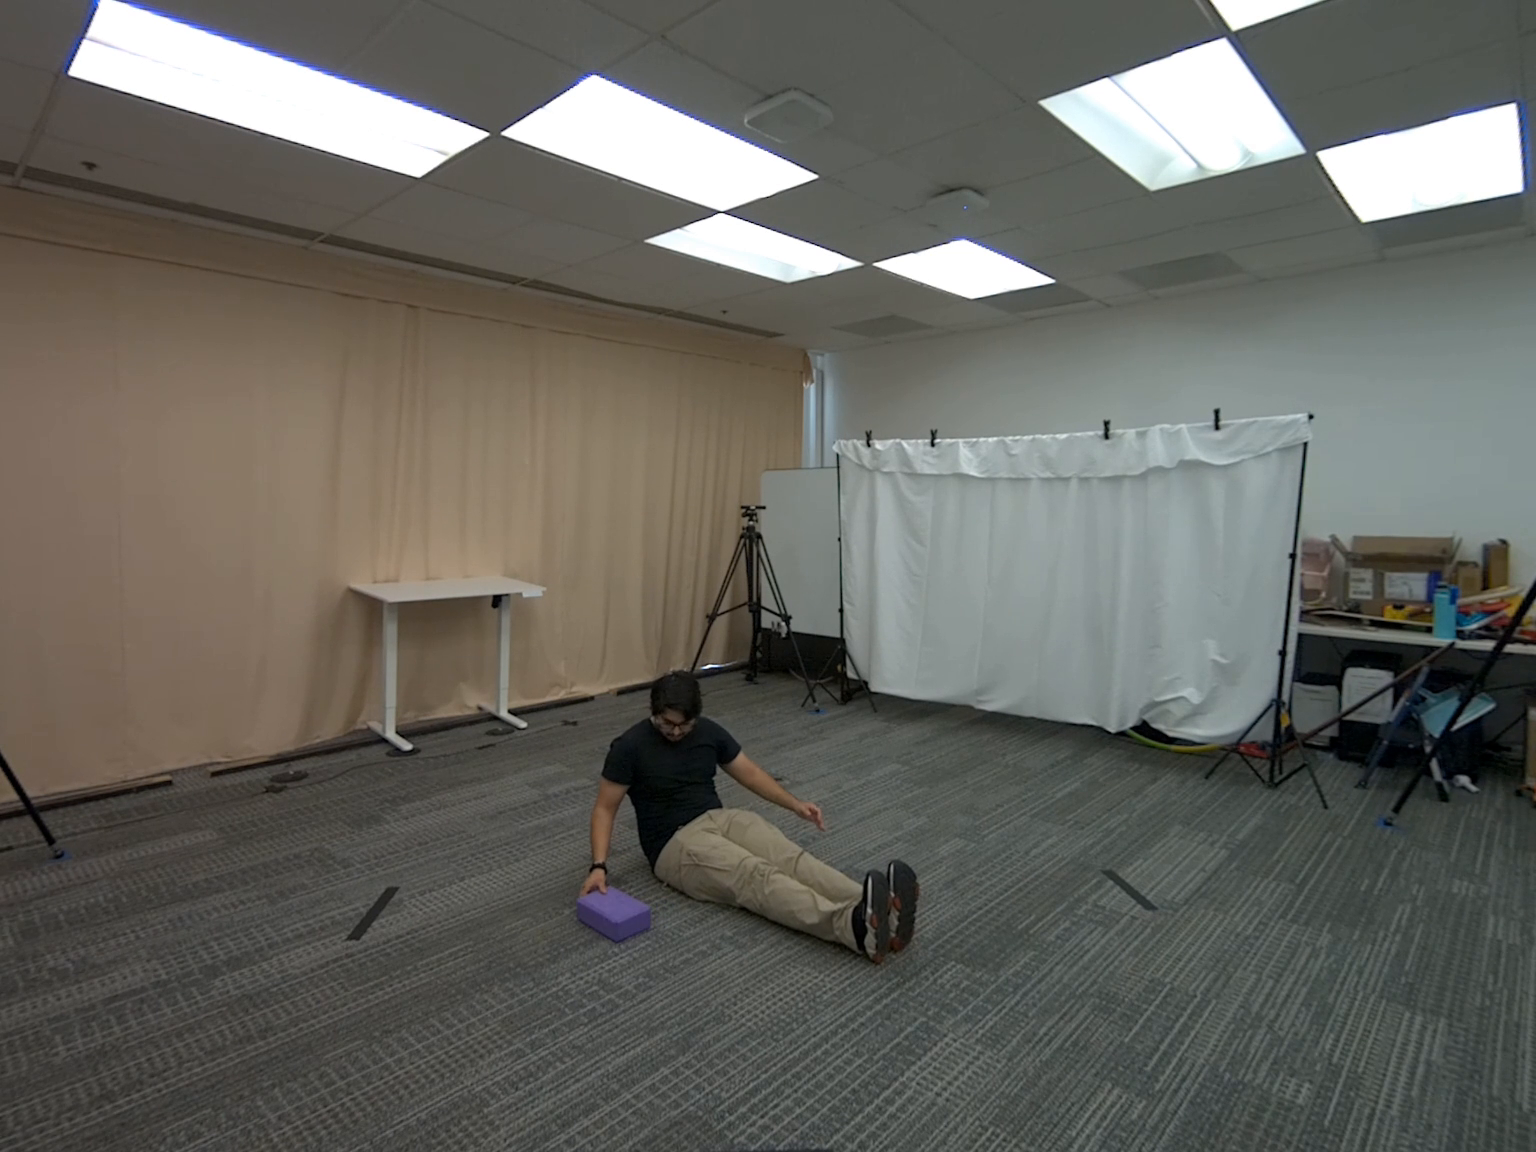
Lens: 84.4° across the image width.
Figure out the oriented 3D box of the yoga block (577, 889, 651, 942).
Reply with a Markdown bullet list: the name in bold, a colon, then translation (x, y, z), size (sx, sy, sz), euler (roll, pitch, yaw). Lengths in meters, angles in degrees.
- **yoga block**: translation (-0.516, 1.116, 2.809), size (0.237, 0.076, 0.144), euler (6, 9, 45)
